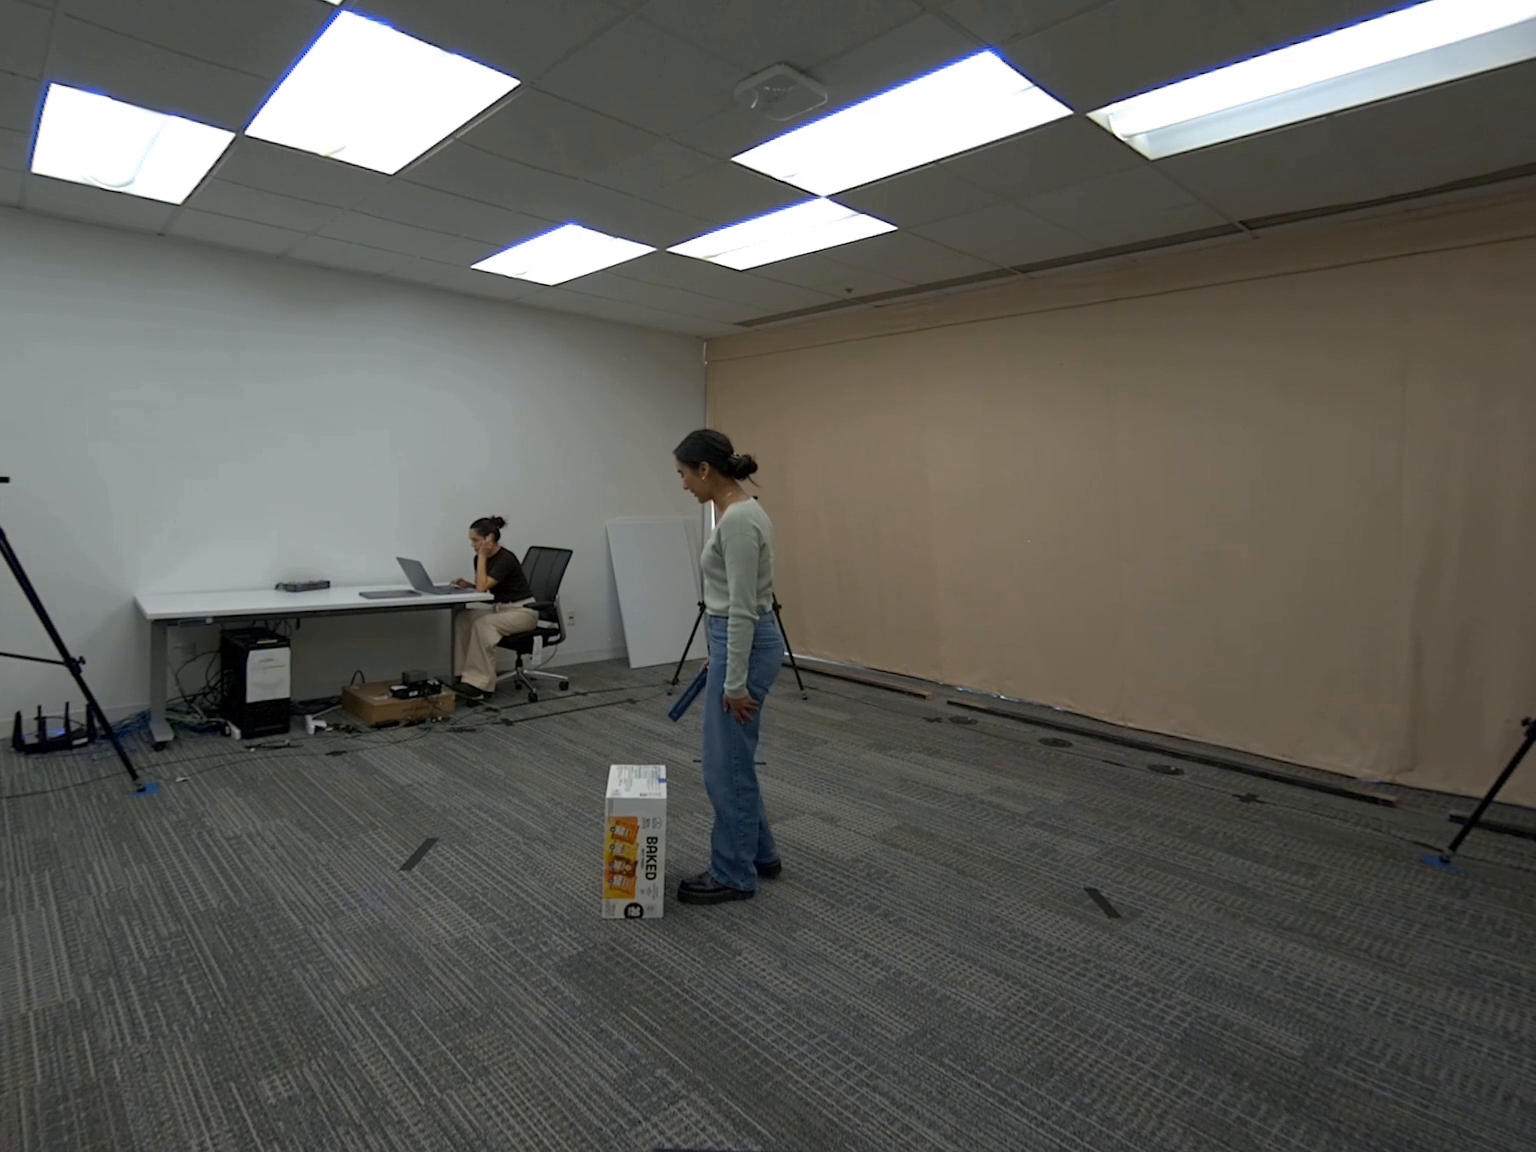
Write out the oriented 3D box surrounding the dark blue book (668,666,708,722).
[{"bbox_3d":[-0.290,0.439,3.236,0.045,0.245,0.163,37,10,3],"label":"dark blue book"}]
